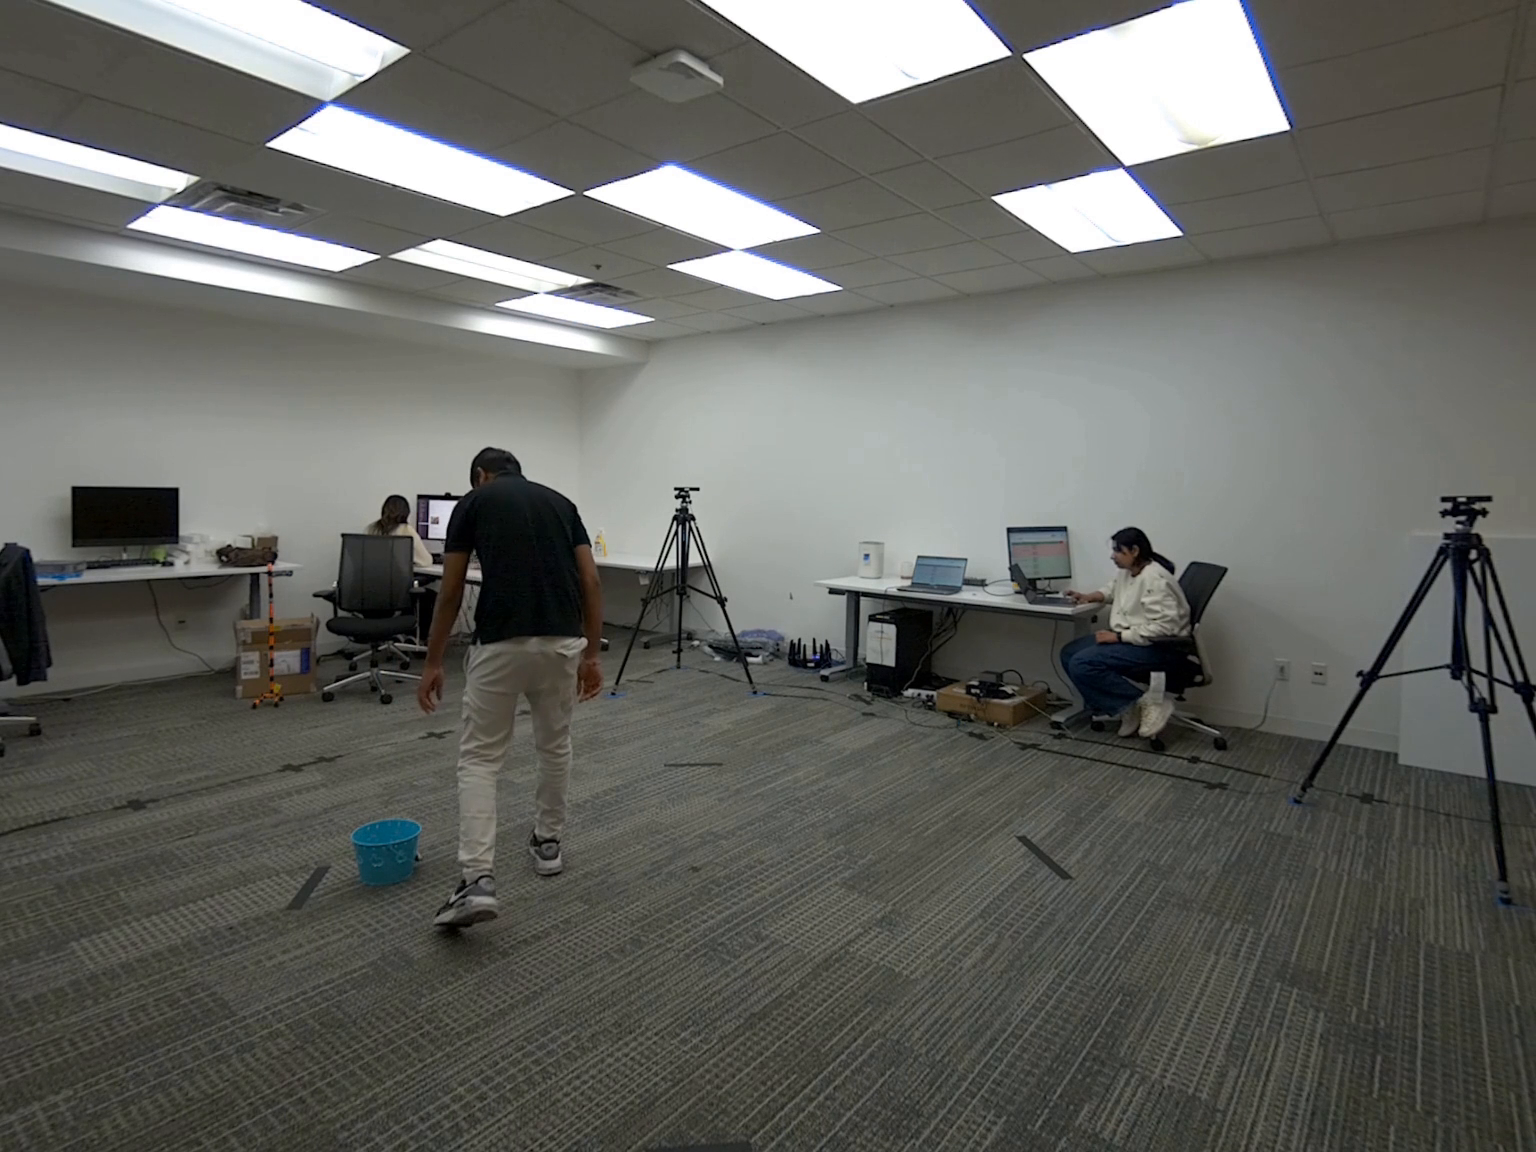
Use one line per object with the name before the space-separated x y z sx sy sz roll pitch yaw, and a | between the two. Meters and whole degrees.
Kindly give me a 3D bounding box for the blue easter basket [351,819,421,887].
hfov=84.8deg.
blue easter basket | -1.368 0.983 3.023 0.243 0.155 0.245 0 5 -2
